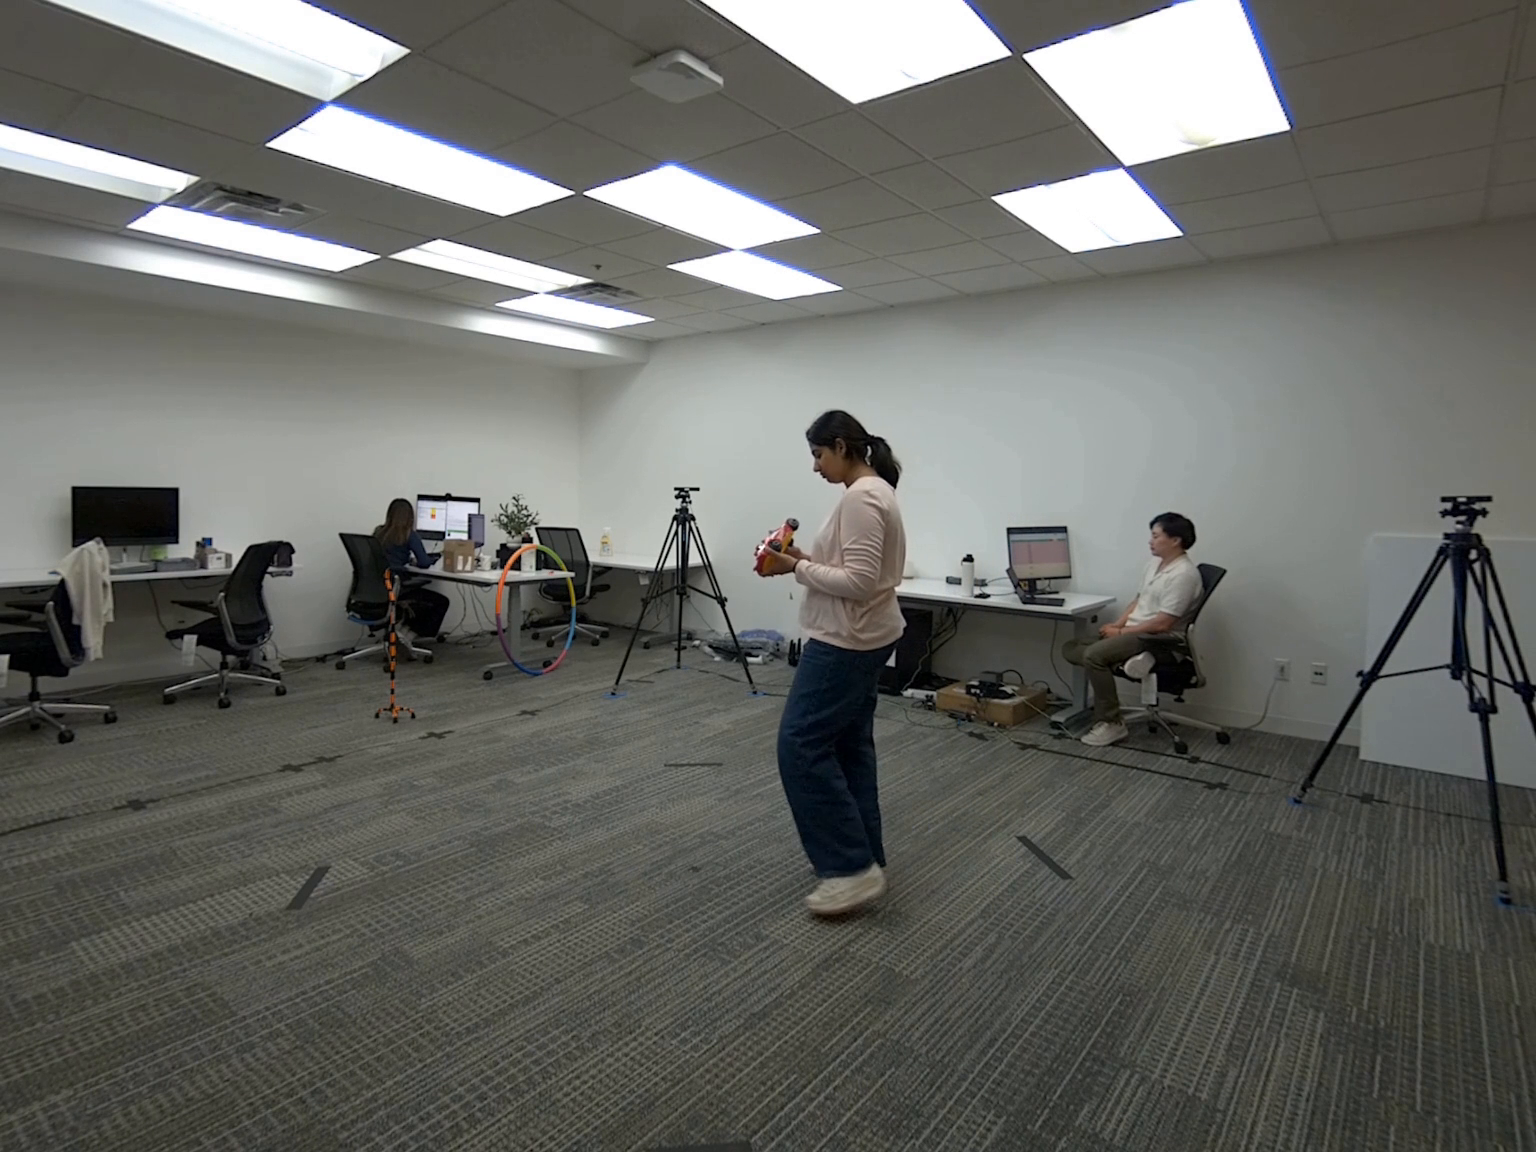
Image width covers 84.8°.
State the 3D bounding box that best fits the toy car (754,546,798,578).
[{"bbox_3d":[0.018,-0.104,2.985,0.085,0.128,0.253,34,48,15],"label":"toy car"}]
